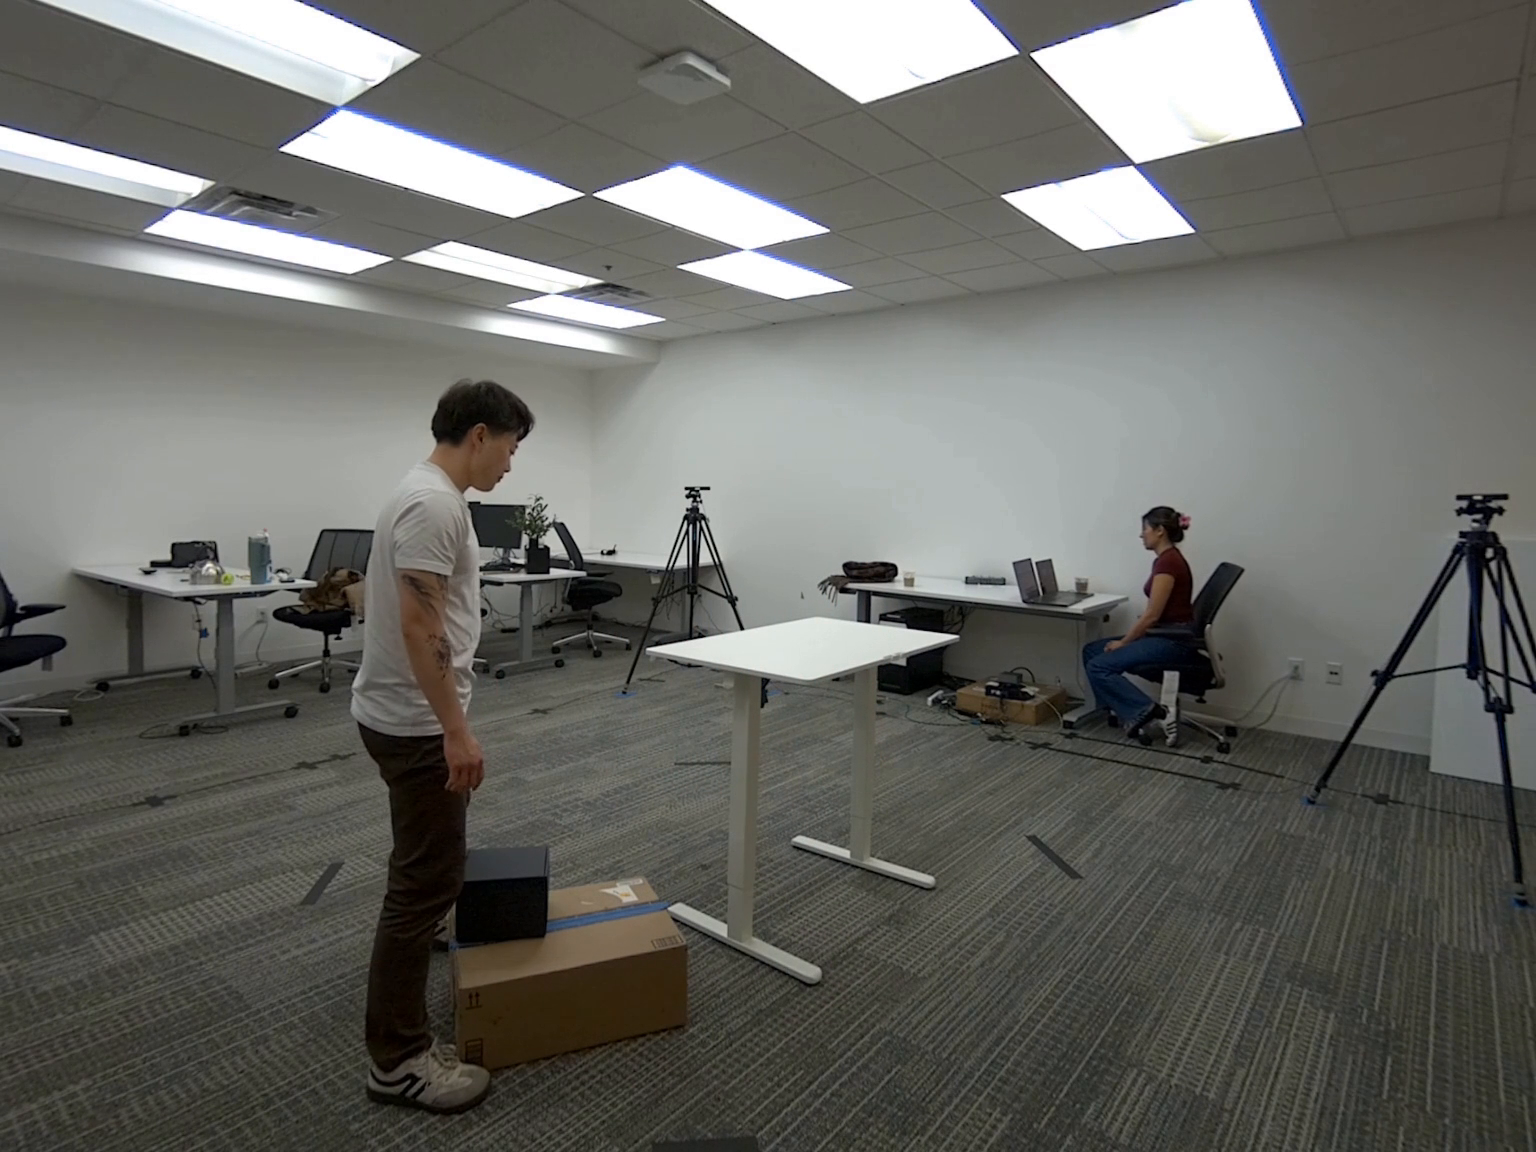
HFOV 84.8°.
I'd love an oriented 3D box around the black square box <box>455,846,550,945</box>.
[{"bbox_3d":[-0.713,0.843,2.283,0.225,0.155,0.220,0,4,-11],"label":"black square box"}]
